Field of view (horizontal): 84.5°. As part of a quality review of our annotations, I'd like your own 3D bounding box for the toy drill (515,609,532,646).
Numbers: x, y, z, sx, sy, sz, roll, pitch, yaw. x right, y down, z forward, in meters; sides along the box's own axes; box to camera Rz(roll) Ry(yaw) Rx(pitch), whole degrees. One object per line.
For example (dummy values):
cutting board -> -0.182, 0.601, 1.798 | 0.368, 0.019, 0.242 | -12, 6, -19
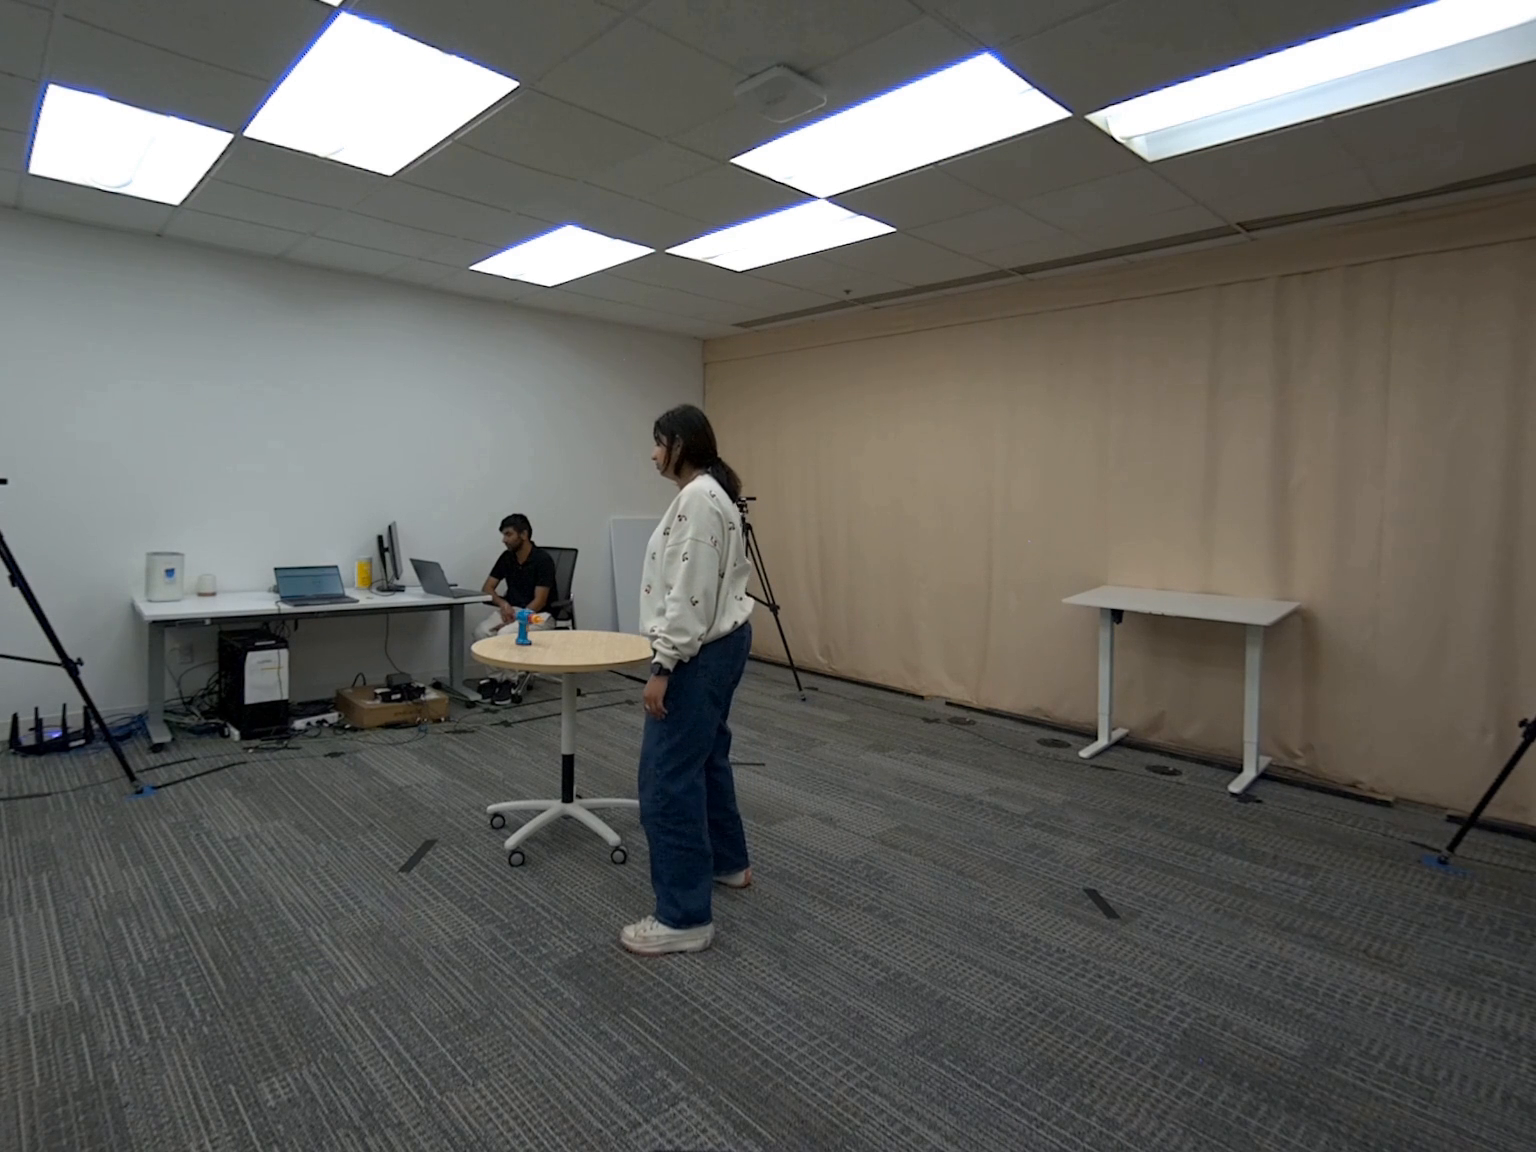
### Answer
toy drill -> -0.970, 0.208, 3.374 | 0.174, 0.146, 0.060 | 3, 3, 35
